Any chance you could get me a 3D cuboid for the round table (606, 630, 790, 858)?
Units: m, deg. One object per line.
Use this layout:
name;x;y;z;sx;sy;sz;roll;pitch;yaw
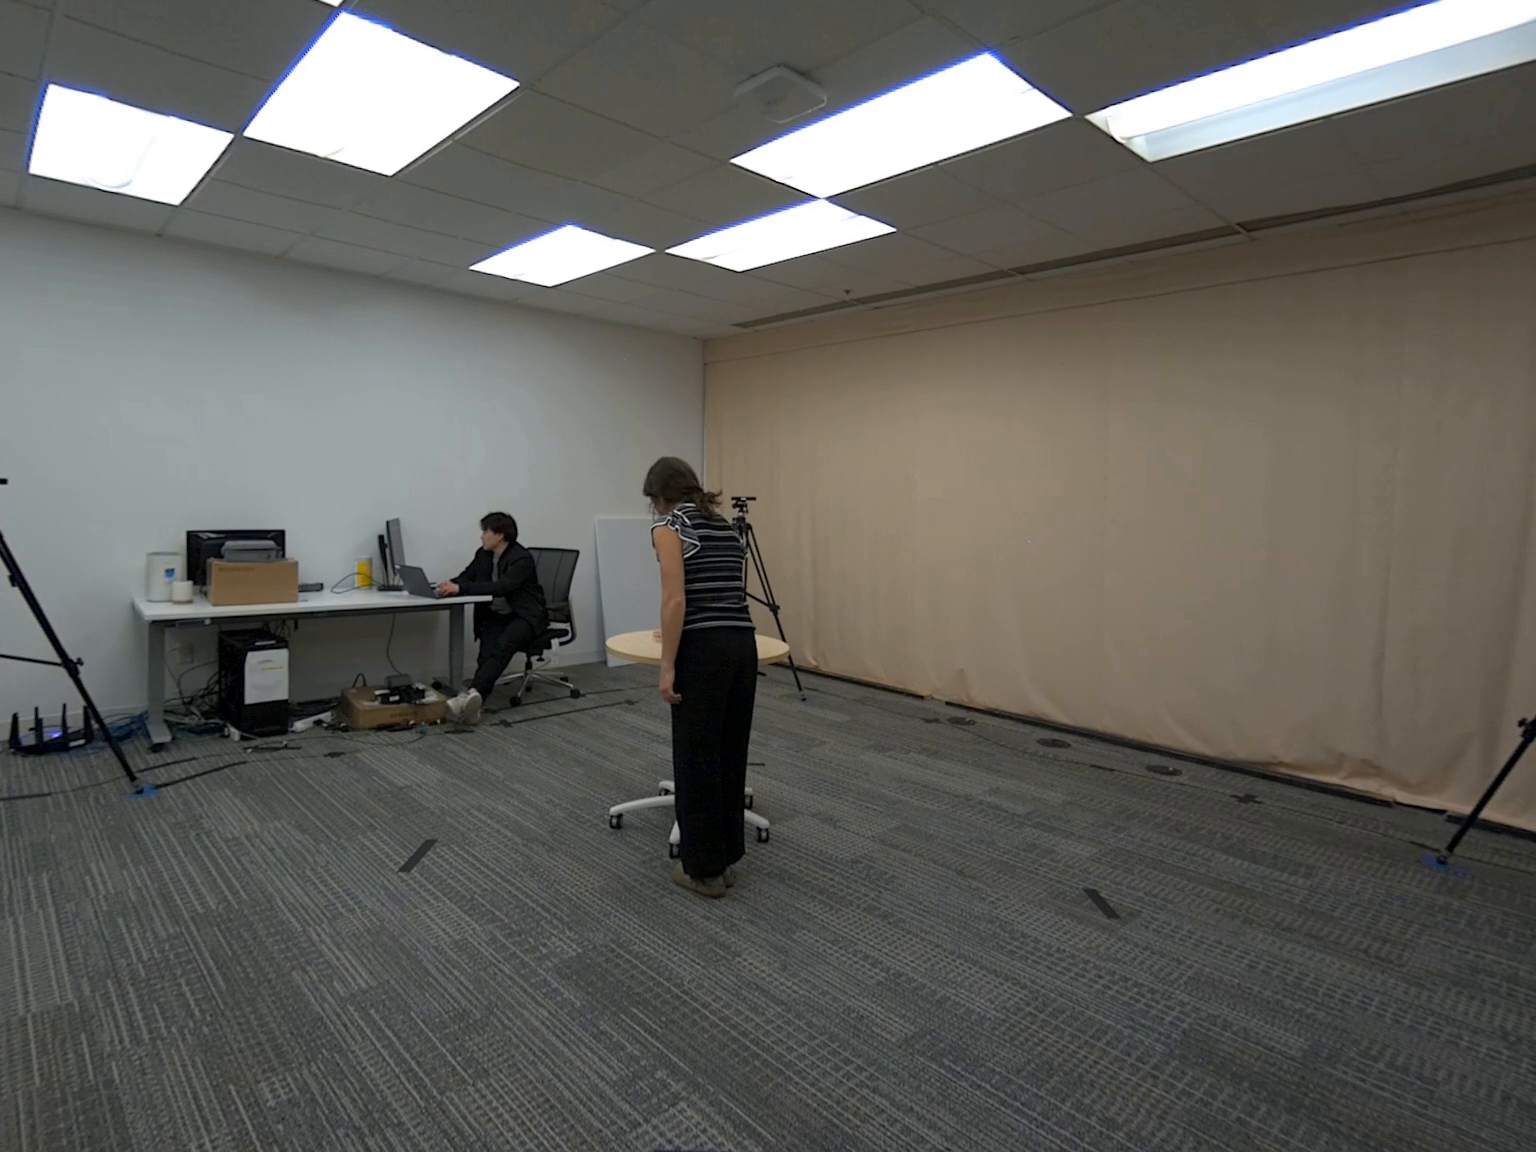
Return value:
round table;-0.316;0.678;3.549;0.763;0.792;0.766;2;4;-2
